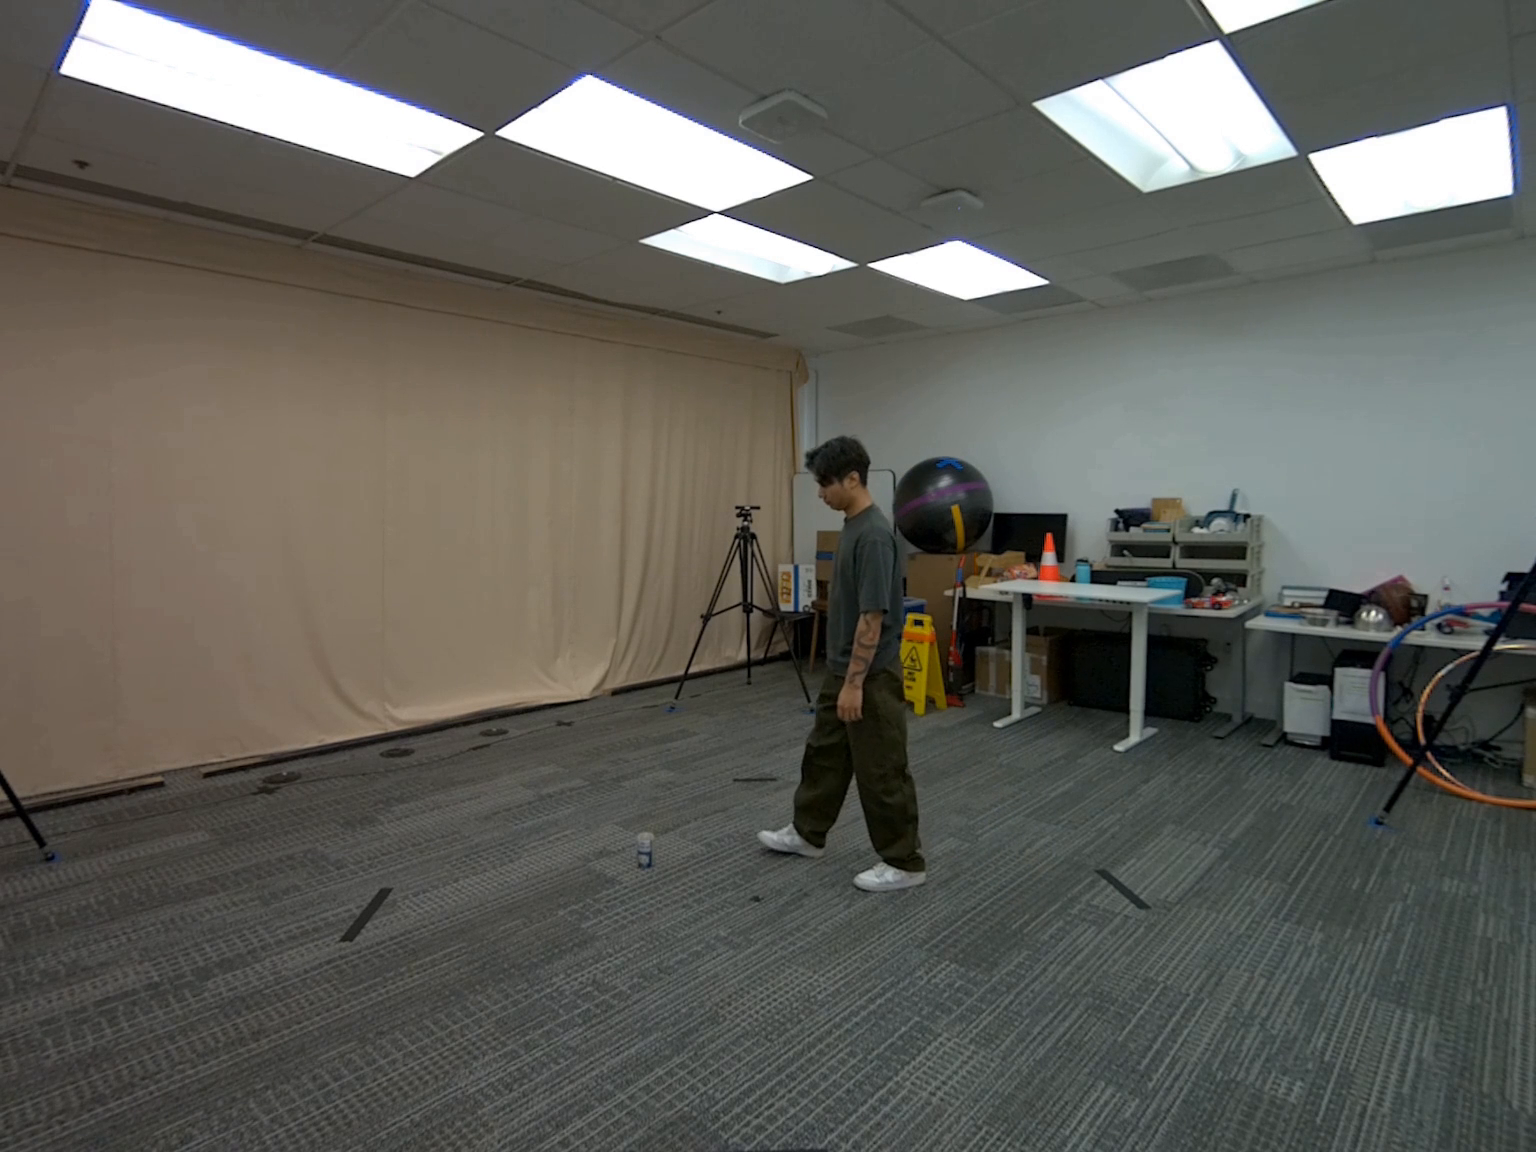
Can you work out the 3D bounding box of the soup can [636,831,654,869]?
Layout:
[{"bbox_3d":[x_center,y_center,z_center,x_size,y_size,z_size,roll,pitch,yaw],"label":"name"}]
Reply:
[{"bbox_3d":[-0.474,1.067,3.265,0.067,0.121,0.067,-3,3,-2],"label":"soup can"}]
